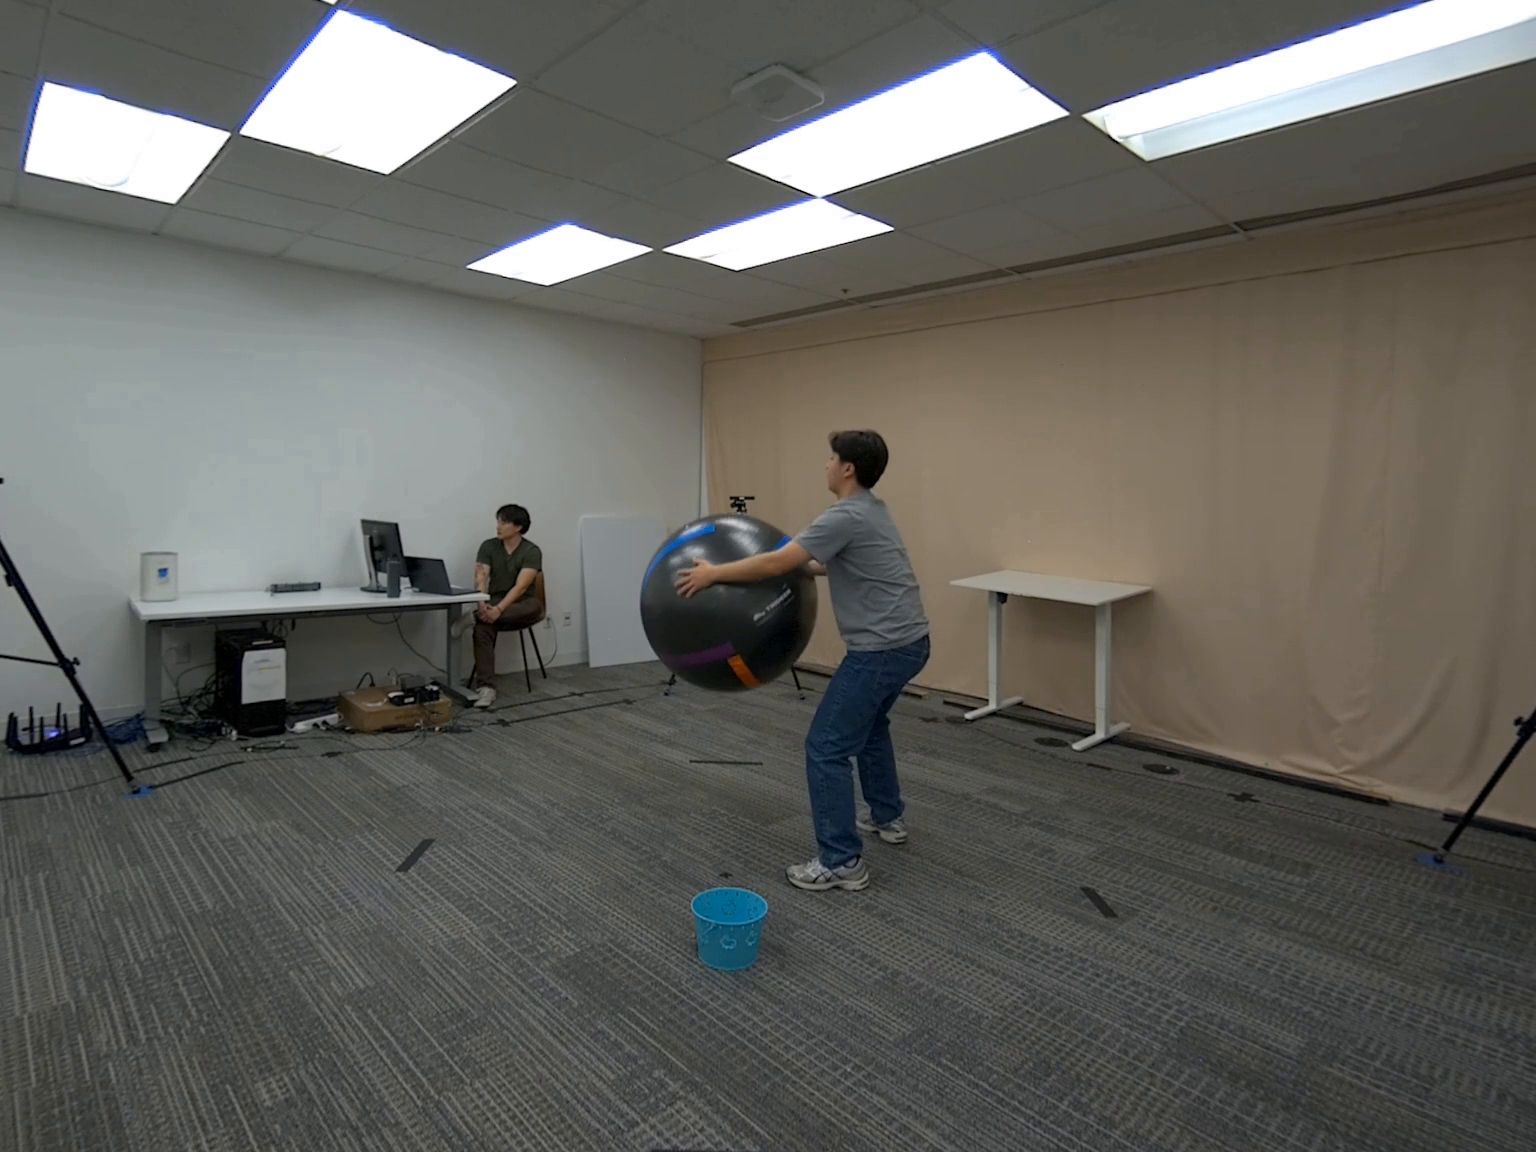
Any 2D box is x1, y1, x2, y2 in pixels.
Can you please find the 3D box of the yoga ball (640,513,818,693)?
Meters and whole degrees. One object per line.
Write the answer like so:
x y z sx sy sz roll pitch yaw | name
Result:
-0.168 0.124 3.588 0.757 0.756 0.761 1 4 -1 | yoga ball
